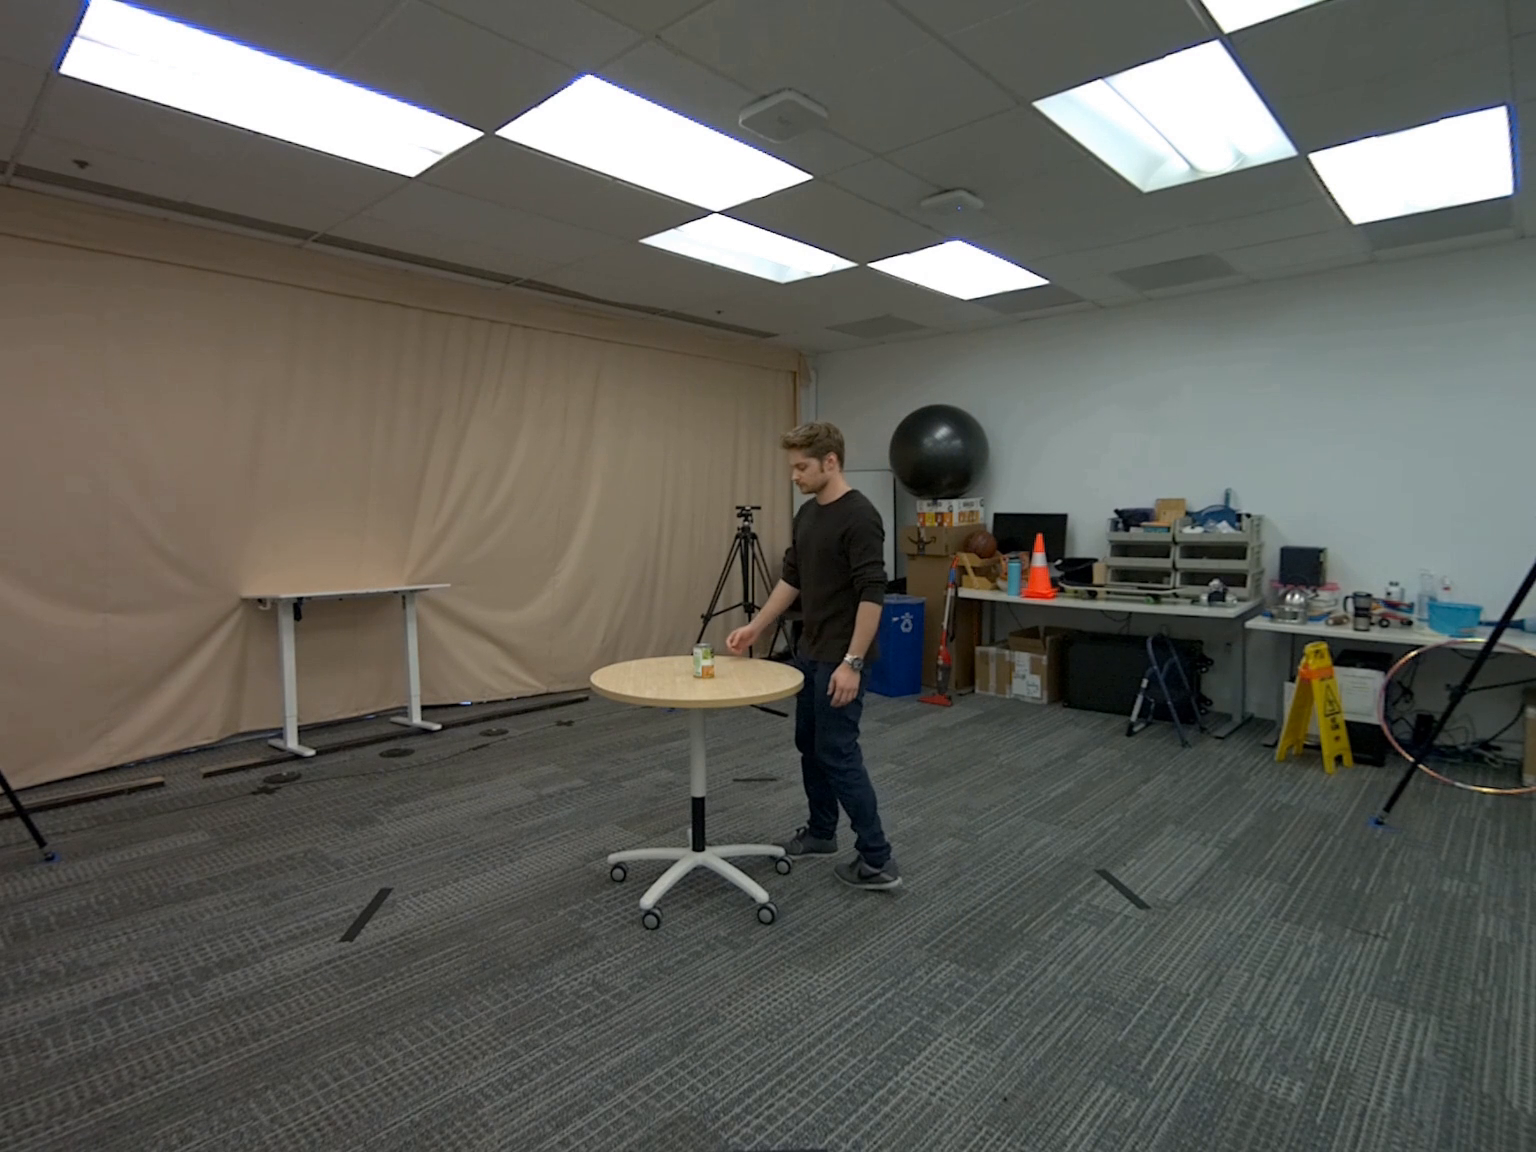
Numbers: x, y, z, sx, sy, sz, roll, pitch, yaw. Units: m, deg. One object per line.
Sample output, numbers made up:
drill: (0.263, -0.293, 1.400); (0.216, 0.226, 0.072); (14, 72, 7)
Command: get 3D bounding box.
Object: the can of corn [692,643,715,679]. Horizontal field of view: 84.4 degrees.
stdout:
can of corn: (-0.226, 0.302, 3.007); (0.074, 0.111, 0.074); (0, 1, -2)
